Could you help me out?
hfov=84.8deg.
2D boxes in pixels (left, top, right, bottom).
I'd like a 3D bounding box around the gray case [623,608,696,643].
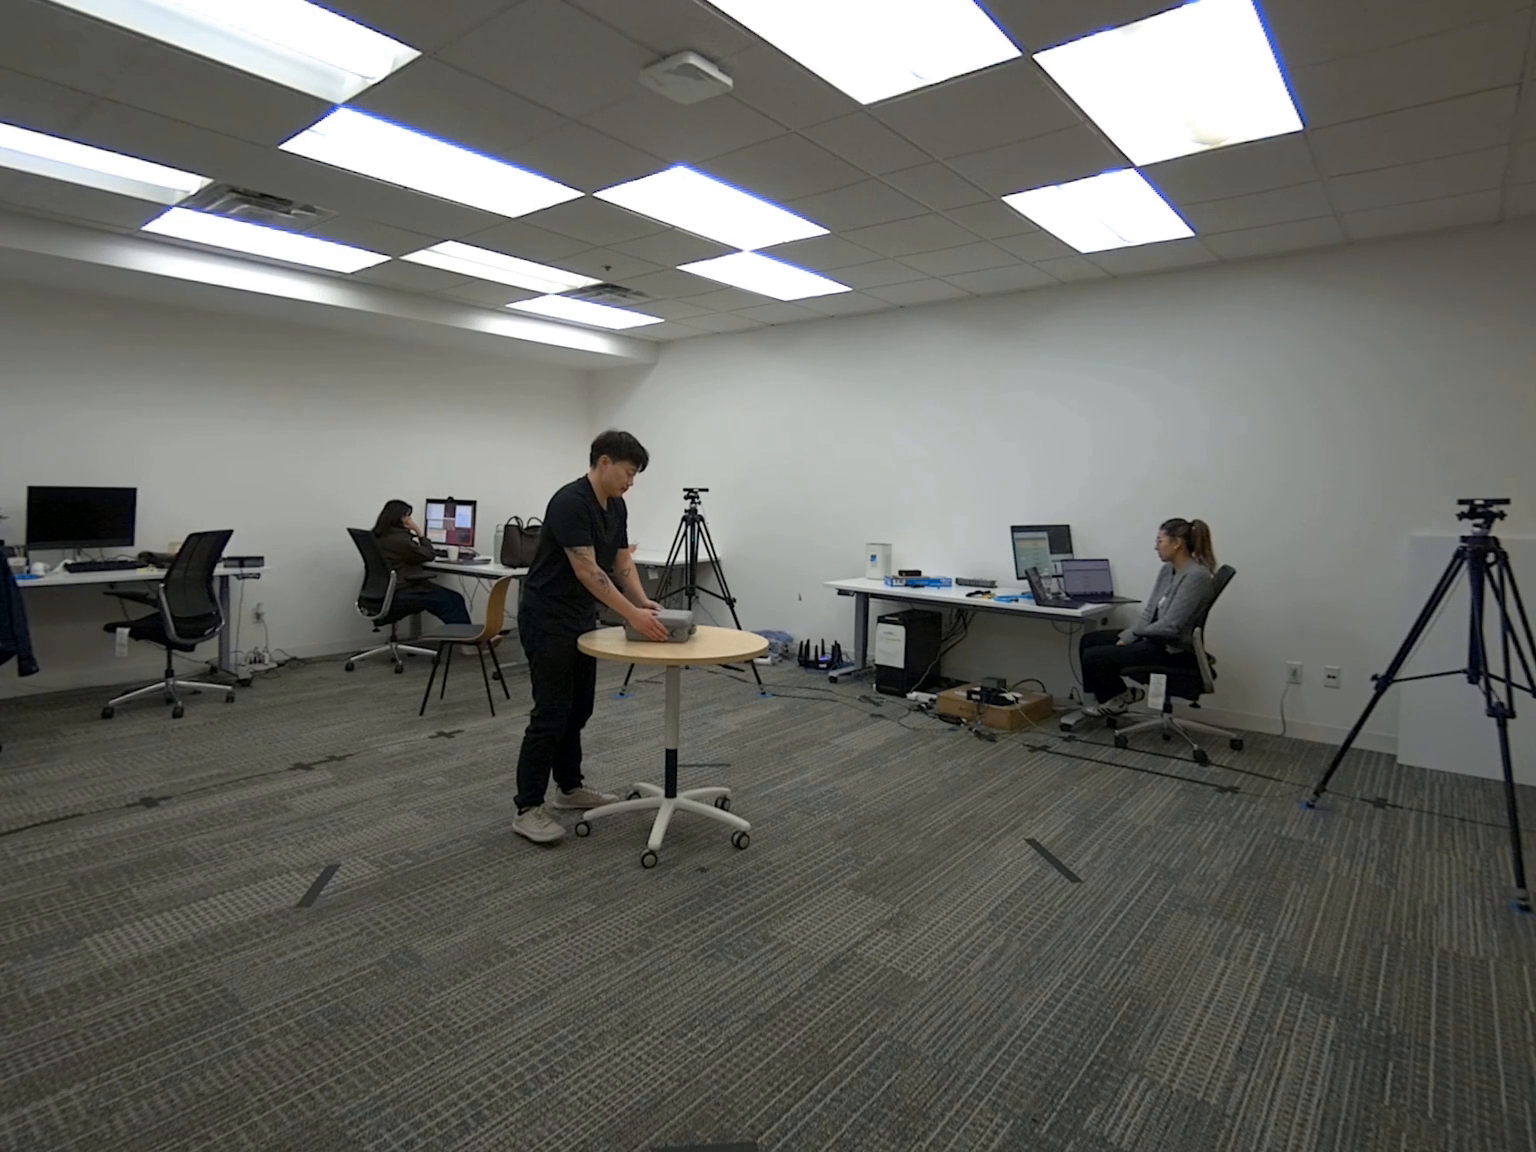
[{"bbox_3d":[-0.443,0.198,3.465,0.262,0.104,0.256,2,3,3],"label":"gray case"}]
